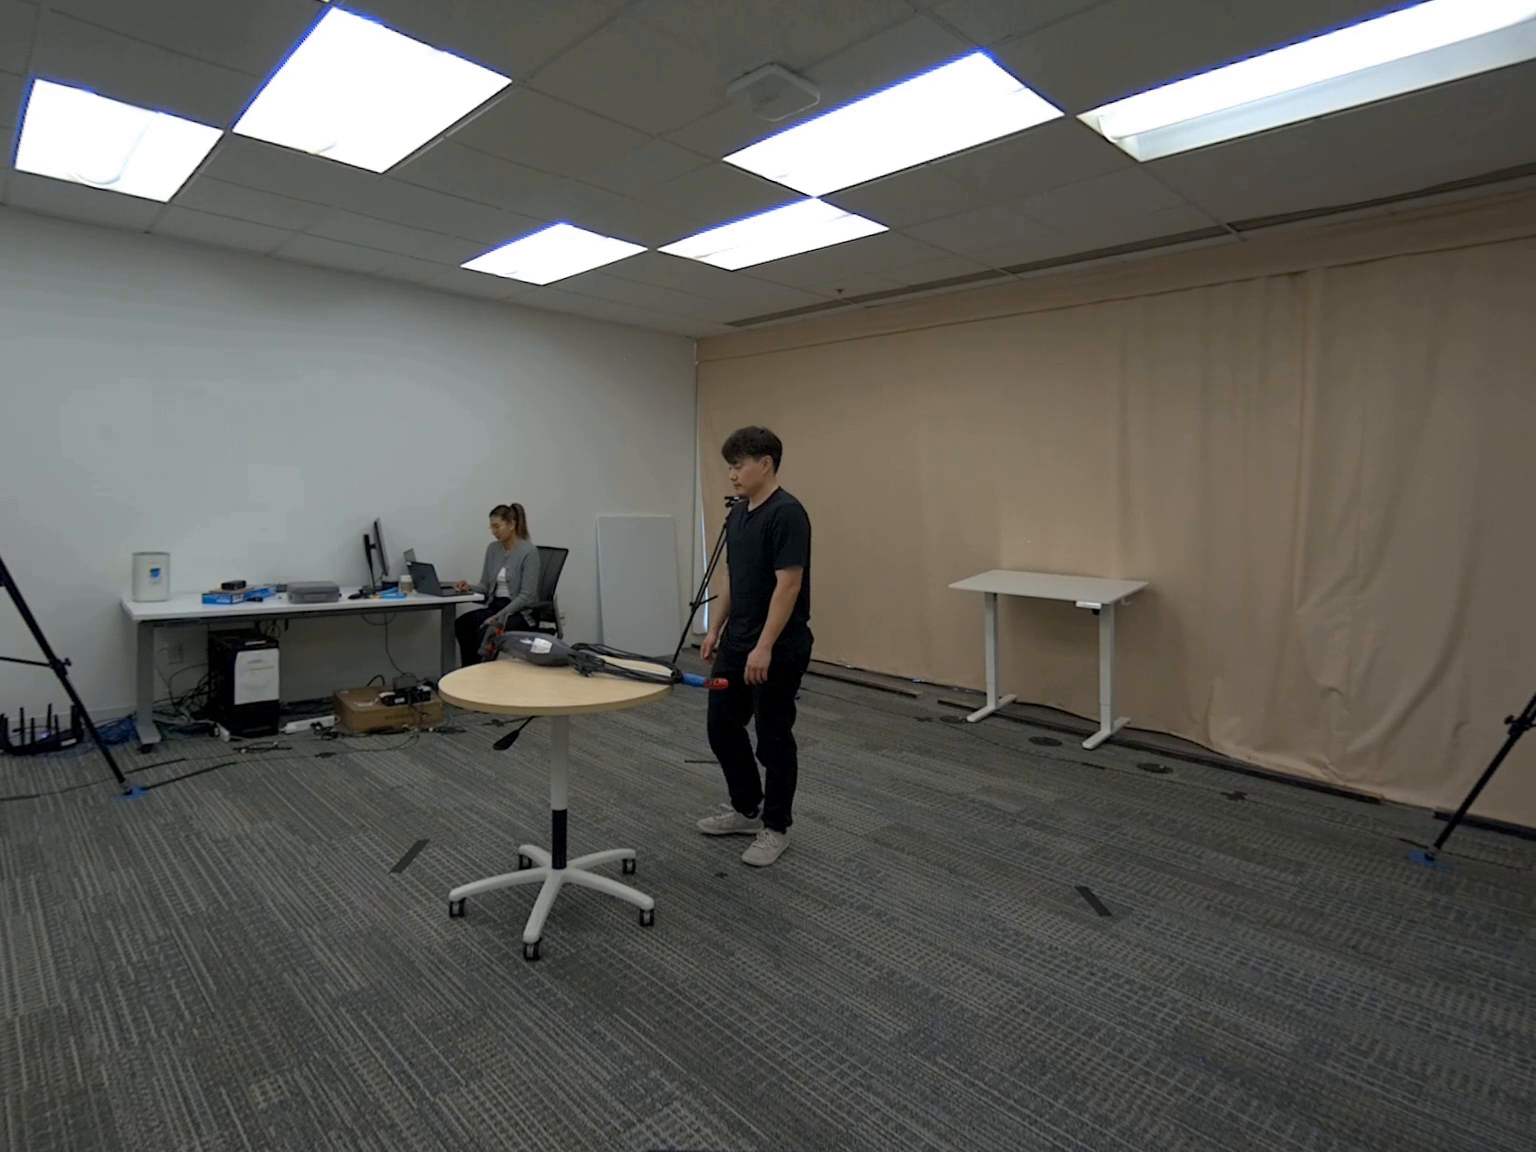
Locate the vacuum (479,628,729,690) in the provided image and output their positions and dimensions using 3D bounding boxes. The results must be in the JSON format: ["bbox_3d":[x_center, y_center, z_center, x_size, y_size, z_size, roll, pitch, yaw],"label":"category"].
[{"bbox_3d":[-0.604,0.301,2.870,1.074,0.255,0.139,5,-25,32],"label":"vacuum"}]
